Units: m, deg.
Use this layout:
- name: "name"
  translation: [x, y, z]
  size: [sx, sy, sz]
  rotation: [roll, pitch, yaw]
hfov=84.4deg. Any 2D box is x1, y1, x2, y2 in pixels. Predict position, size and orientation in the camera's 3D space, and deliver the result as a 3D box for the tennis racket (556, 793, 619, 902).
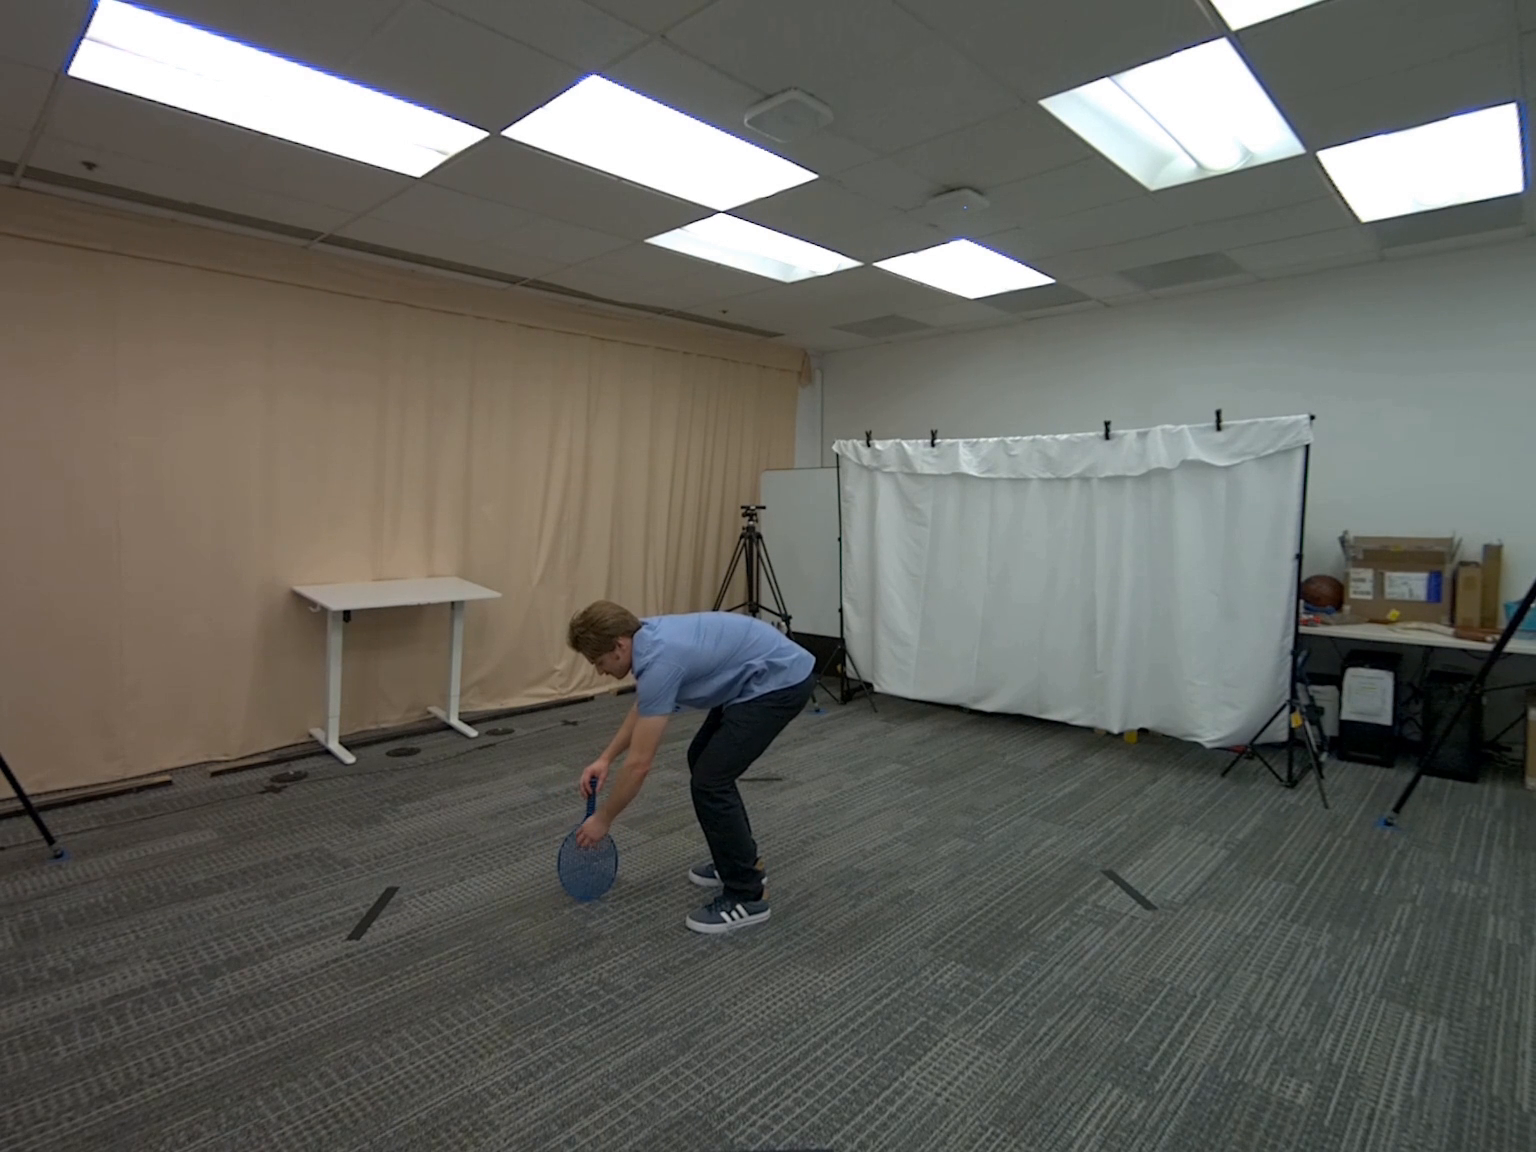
- name: "tennis racket"
  translation: [-0.631, 0.936, 2.981]
  size: [0.213, 0.433, 0.032]
  rotation: [2, 0, -3]
